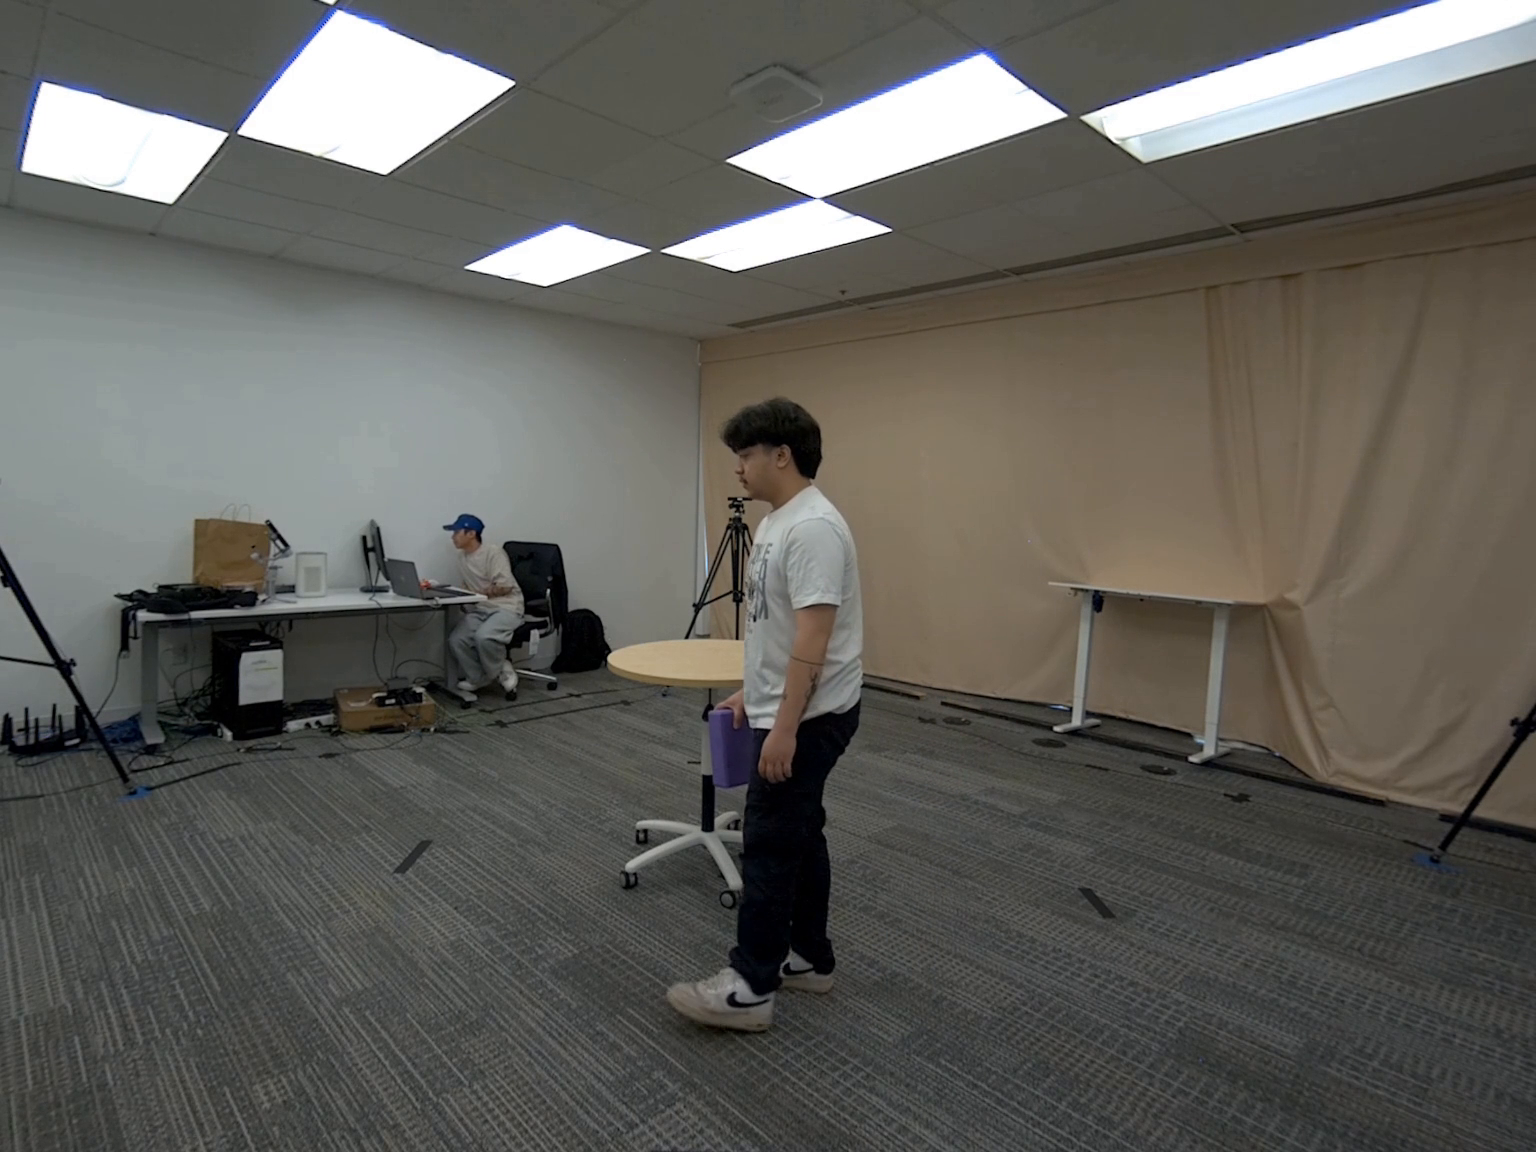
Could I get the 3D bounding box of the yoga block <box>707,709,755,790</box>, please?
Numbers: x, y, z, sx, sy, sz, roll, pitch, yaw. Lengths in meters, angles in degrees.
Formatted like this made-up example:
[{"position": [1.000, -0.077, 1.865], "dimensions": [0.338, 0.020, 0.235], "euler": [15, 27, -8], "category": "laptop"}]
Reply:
[{"position": [-0.106, 0.533, 2.601], "dimensions": [0.145, 0.230, 0.078], "euler": [-1, -6, -41], "category": "yoga block"}]
